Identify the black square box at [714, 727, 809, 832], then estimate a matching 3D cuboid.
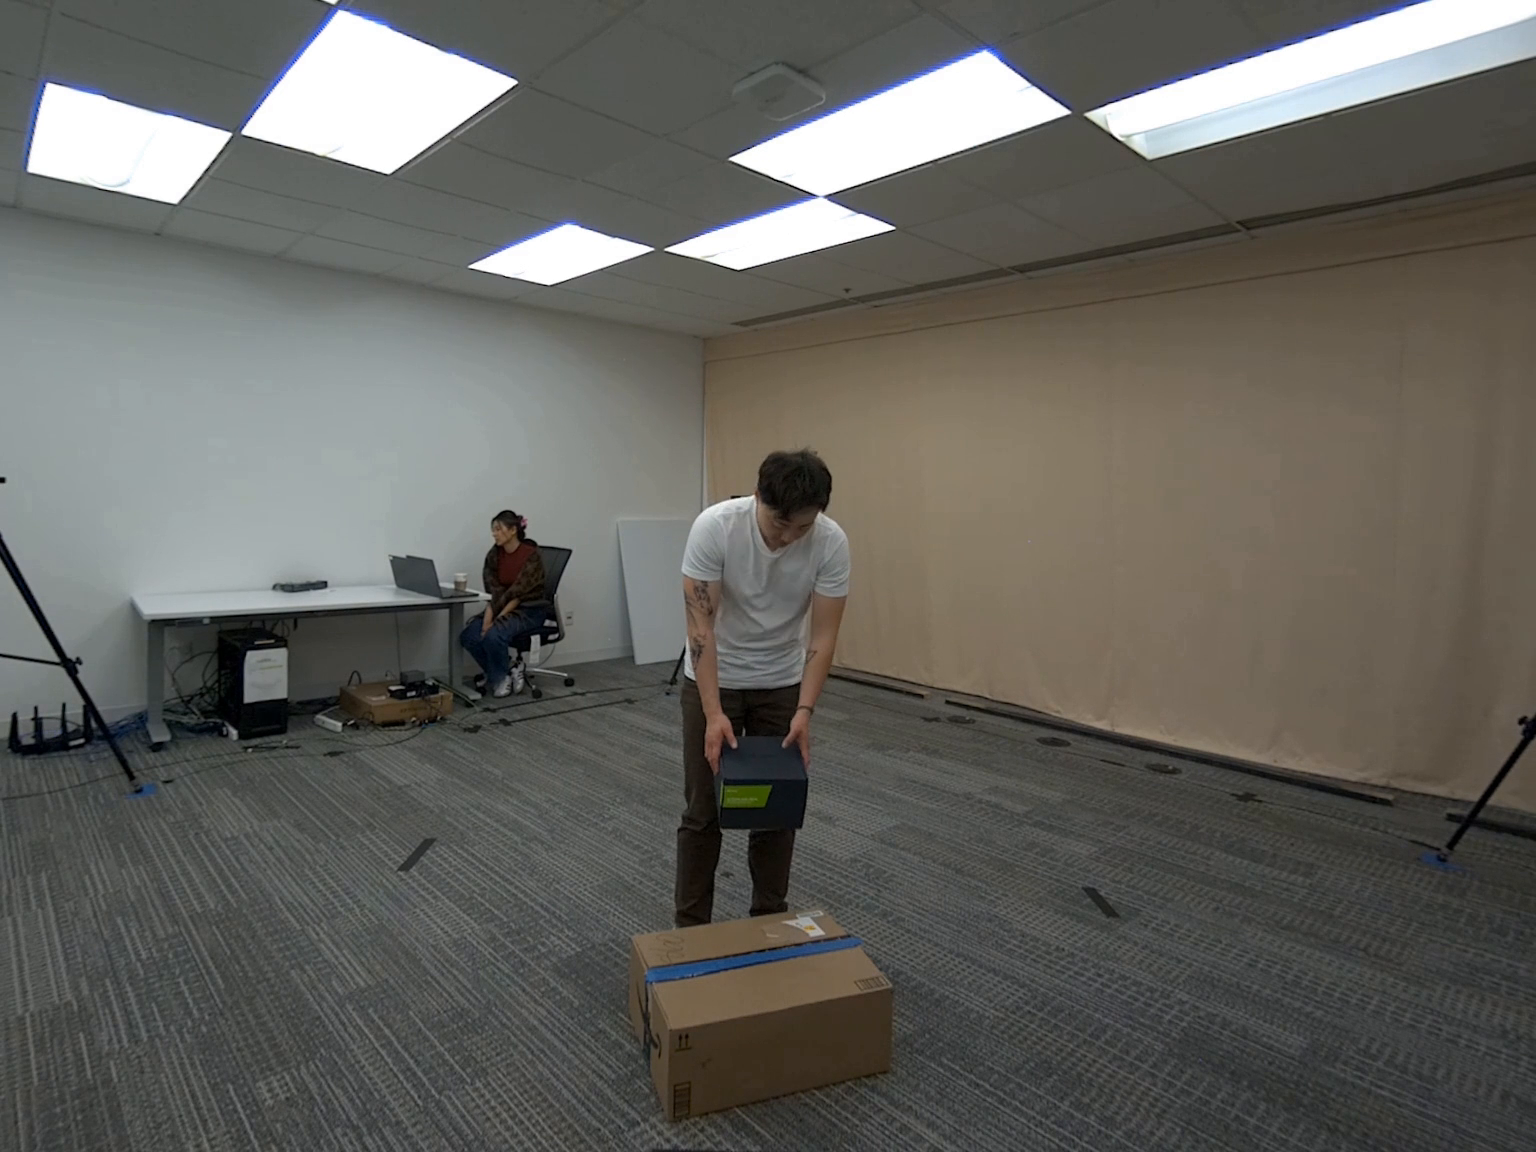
[{"bbox_3d":[-0.029,0.568,2.320,0.227,0.154,0.221,3,19,-7],"label":"black square box"}]
